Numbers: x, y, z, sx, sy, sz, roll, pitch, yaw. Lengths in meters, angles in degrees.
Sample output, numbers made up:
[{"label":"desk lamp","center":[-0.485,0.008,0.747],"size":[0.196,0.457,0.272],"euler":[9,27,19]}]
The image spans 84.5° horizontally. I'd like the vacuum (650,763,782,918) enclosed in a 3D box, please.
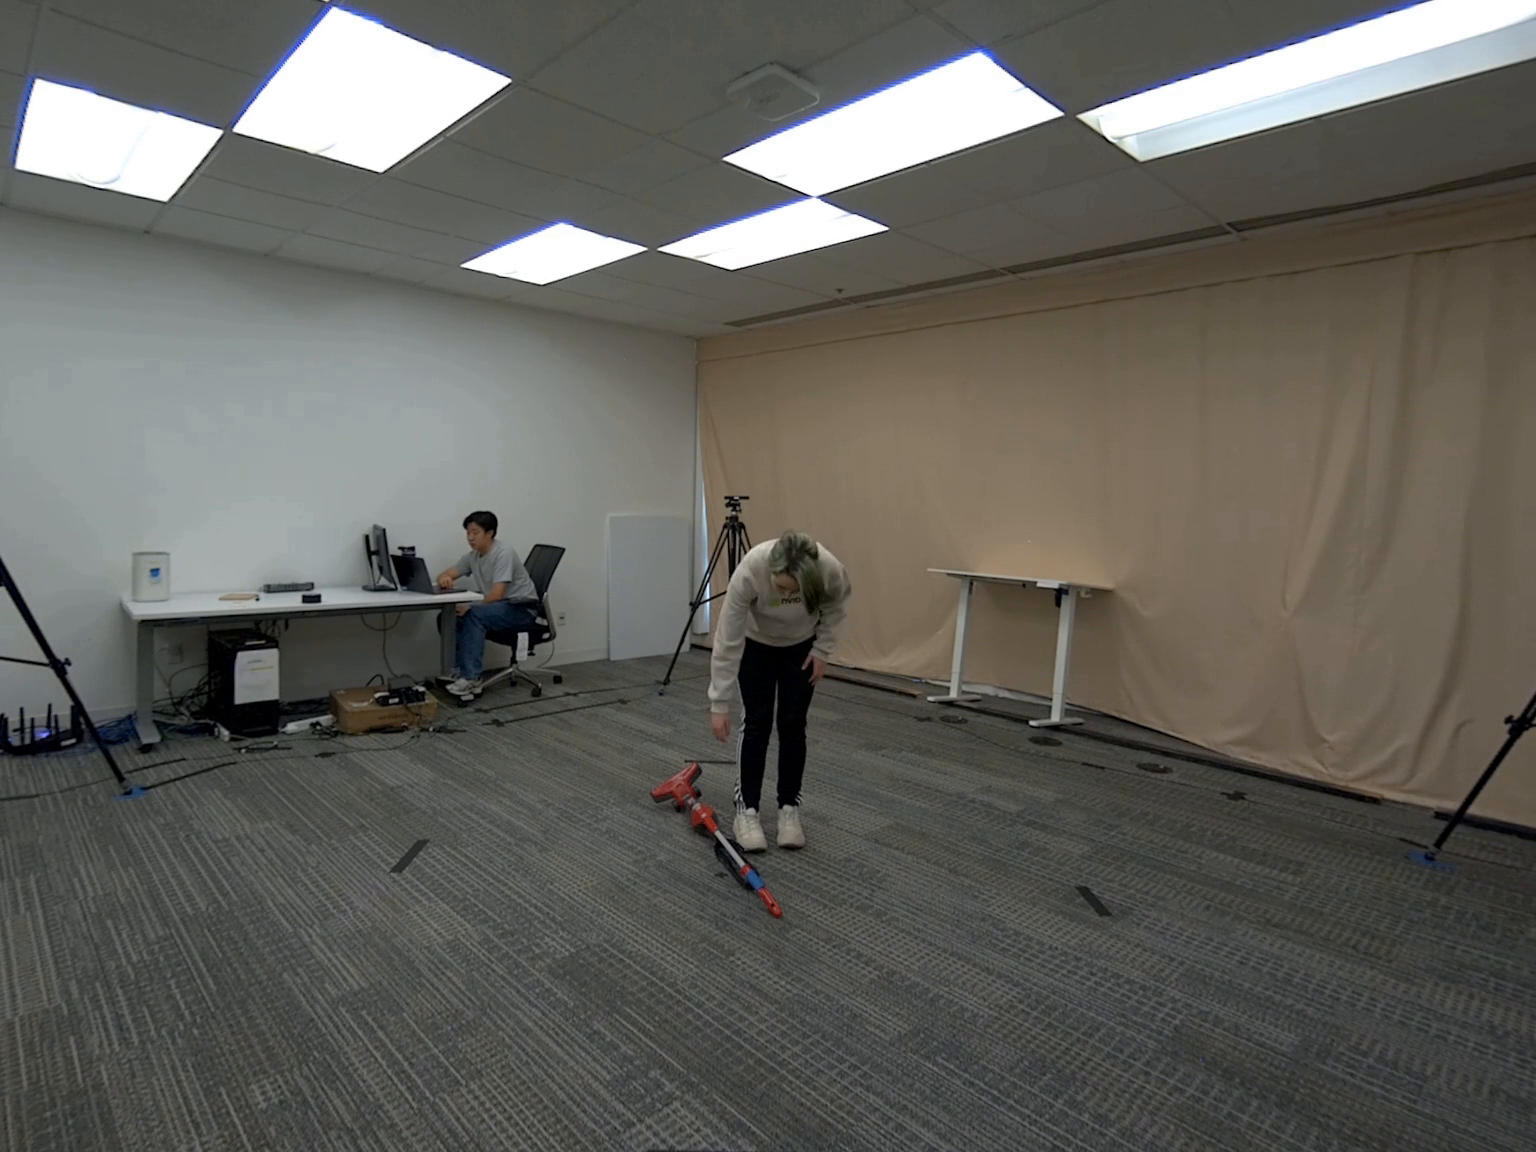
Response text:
[{"label":"vacuum","center":[-0.189,1.036,3.287],"size":[0.251,0.141,1.072],"euler":[-33,20,-14]}]
